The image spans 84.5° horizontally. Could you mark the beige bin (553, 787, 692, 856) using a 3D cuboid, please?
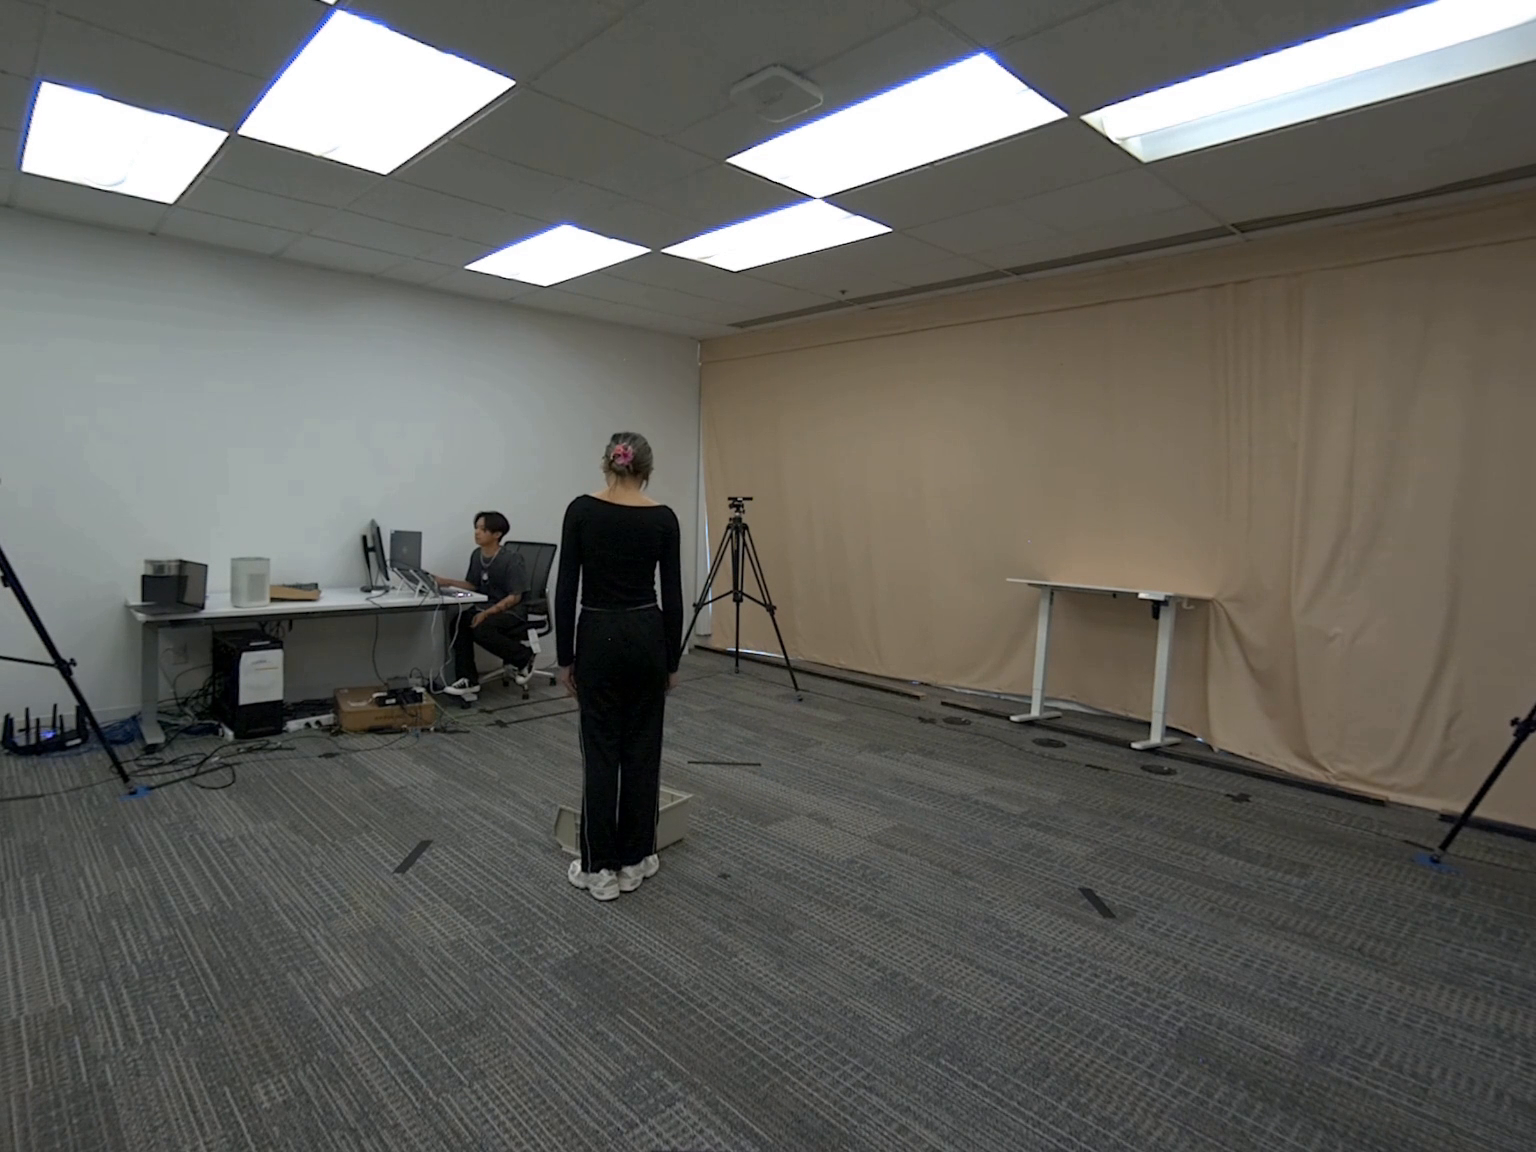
[{"bbox_3d":[-0.586,0.984,3.379,0.386,0.188,0.413,6,7,34],"label":"beige bin"}]
